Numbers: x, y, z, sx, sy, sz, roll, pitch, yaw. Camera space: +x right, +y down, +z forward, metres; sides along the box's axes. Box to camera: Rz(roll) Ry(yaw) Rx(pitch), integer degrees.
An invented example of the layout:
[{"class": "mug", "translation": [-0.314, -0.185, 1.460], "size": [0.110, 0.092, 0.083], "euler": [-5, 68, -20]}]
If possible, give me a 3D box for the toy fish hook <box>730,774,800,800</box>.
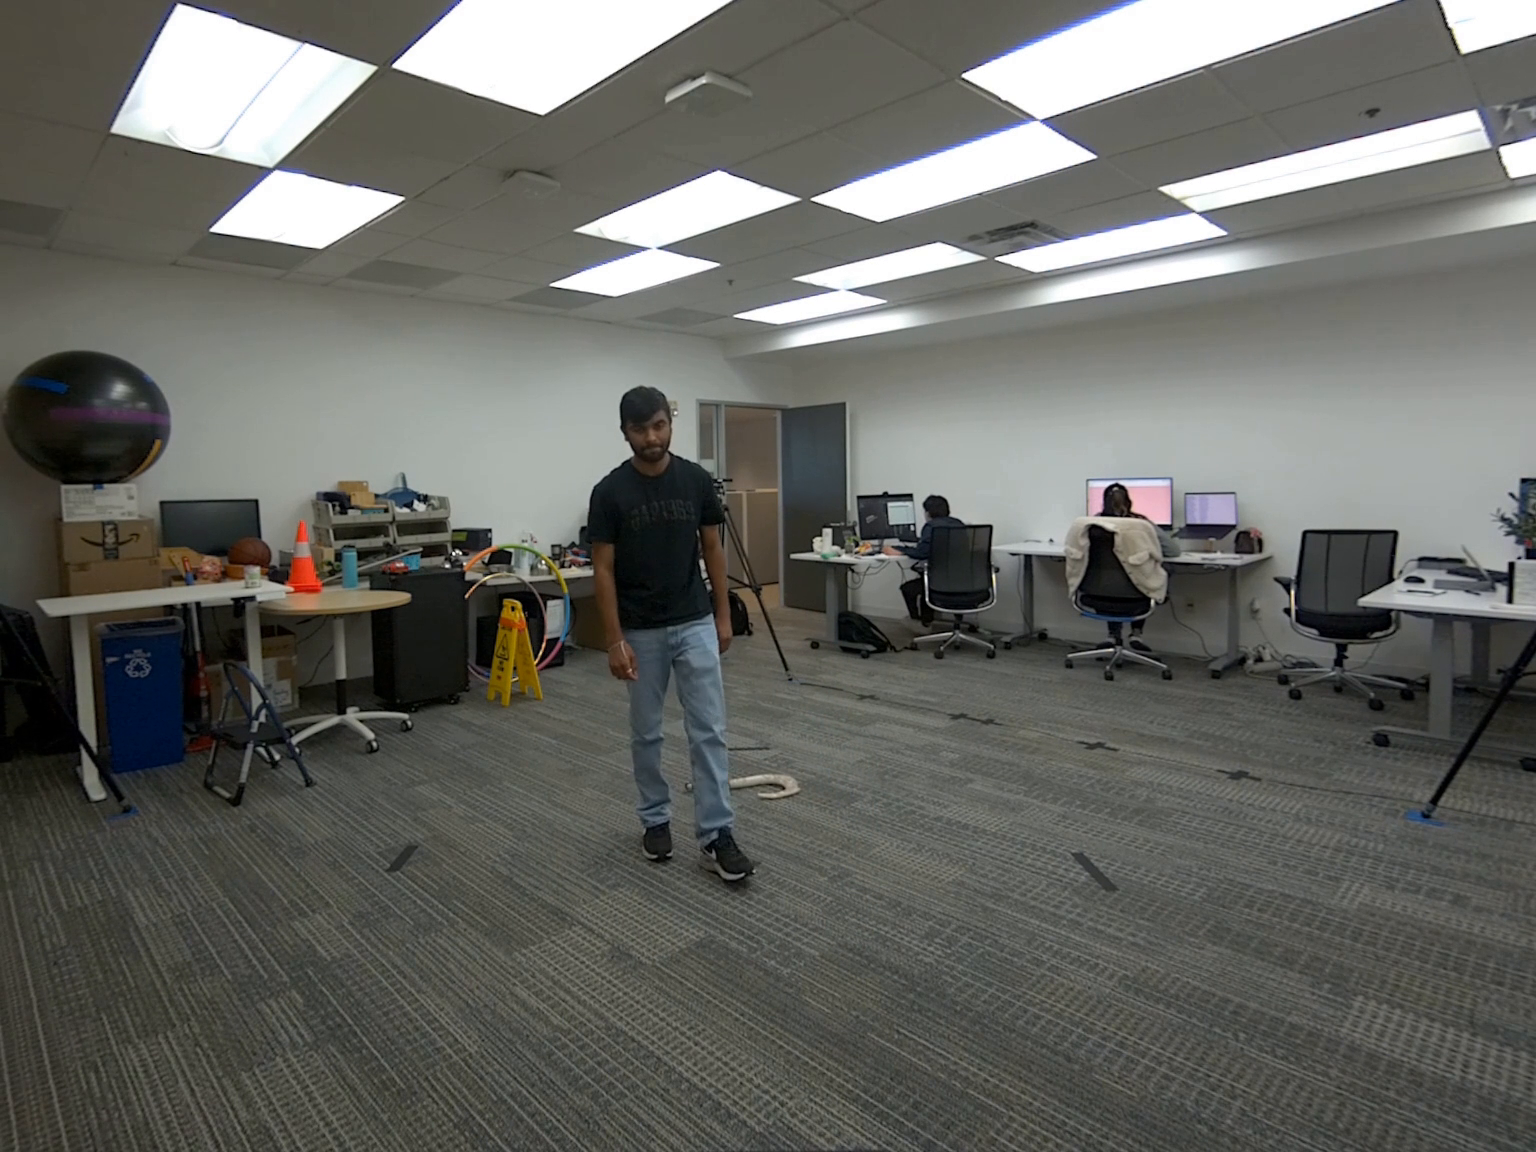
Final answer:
[{"class": "toy fish hook", "translation": [-0.115, 0.942, 3.814], "size": [0.504, 0.048, 0.226], "euler": [-2, 5, -6]}]
